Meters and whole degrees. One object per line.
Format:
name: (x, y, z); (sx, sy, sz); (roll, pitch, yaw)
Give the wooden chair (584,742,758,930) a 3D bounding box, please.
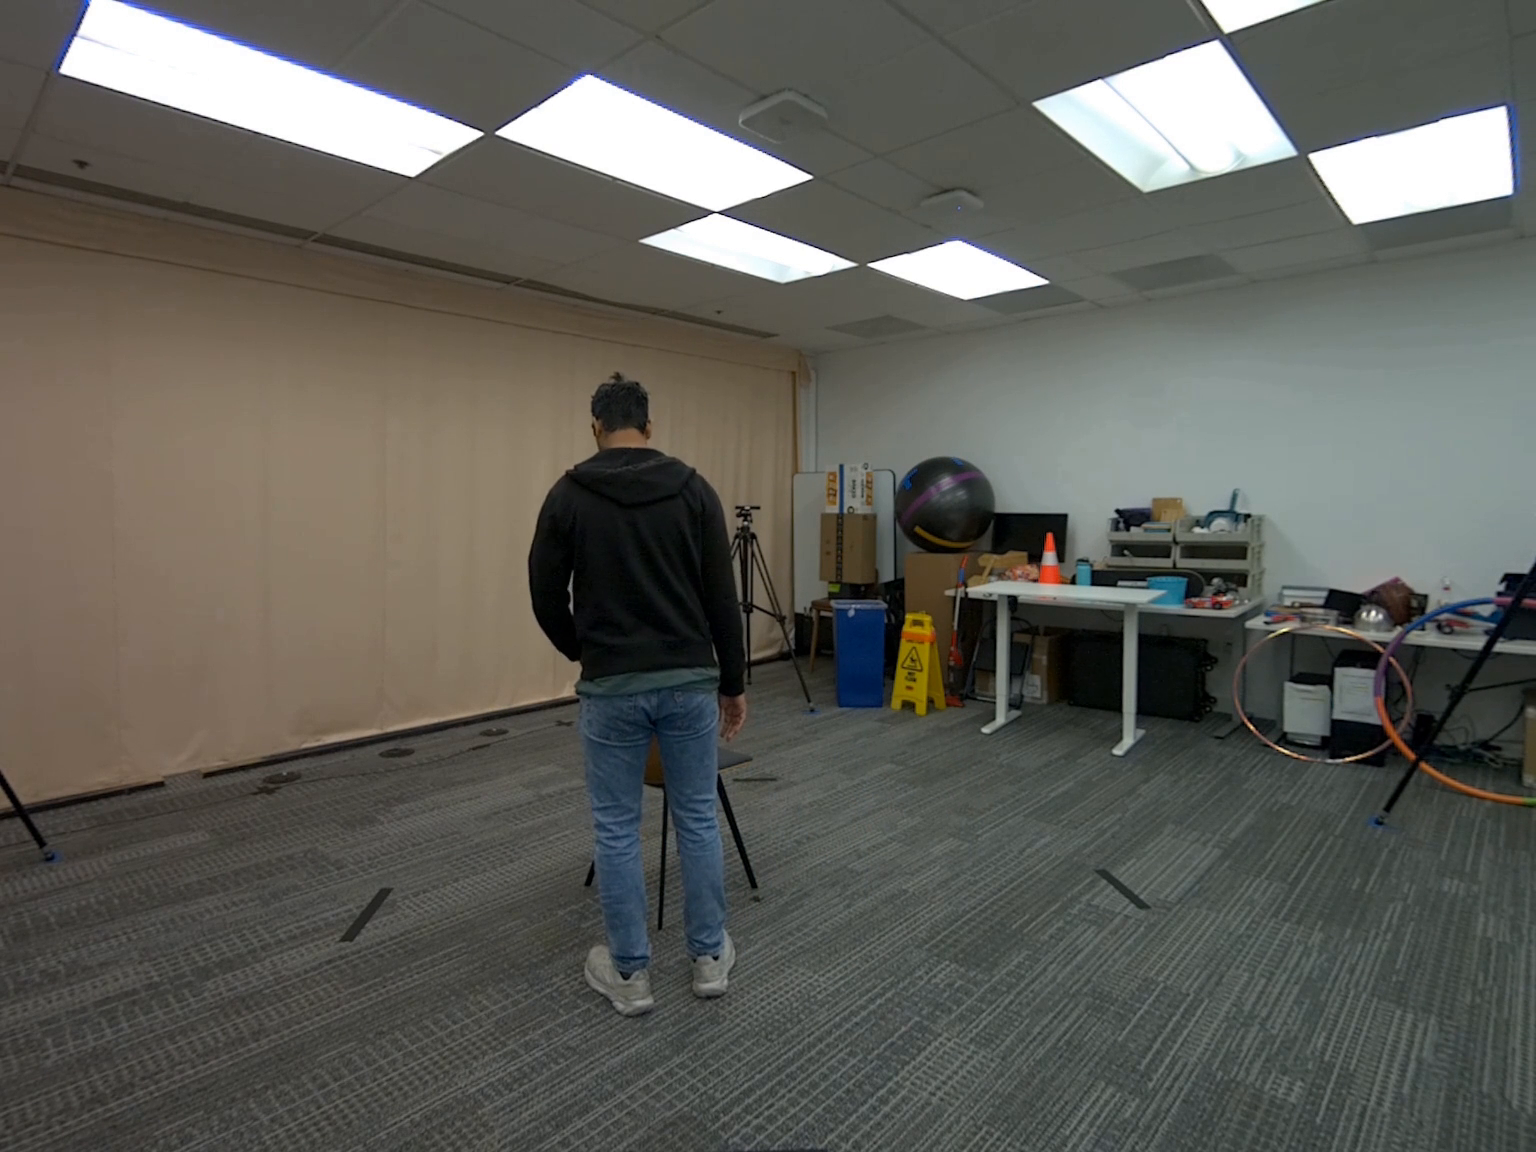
wooden chair: (-0.353, 0.714, 3.053); (0.508, 0.874, 0.494); (-9, 8, -43)
